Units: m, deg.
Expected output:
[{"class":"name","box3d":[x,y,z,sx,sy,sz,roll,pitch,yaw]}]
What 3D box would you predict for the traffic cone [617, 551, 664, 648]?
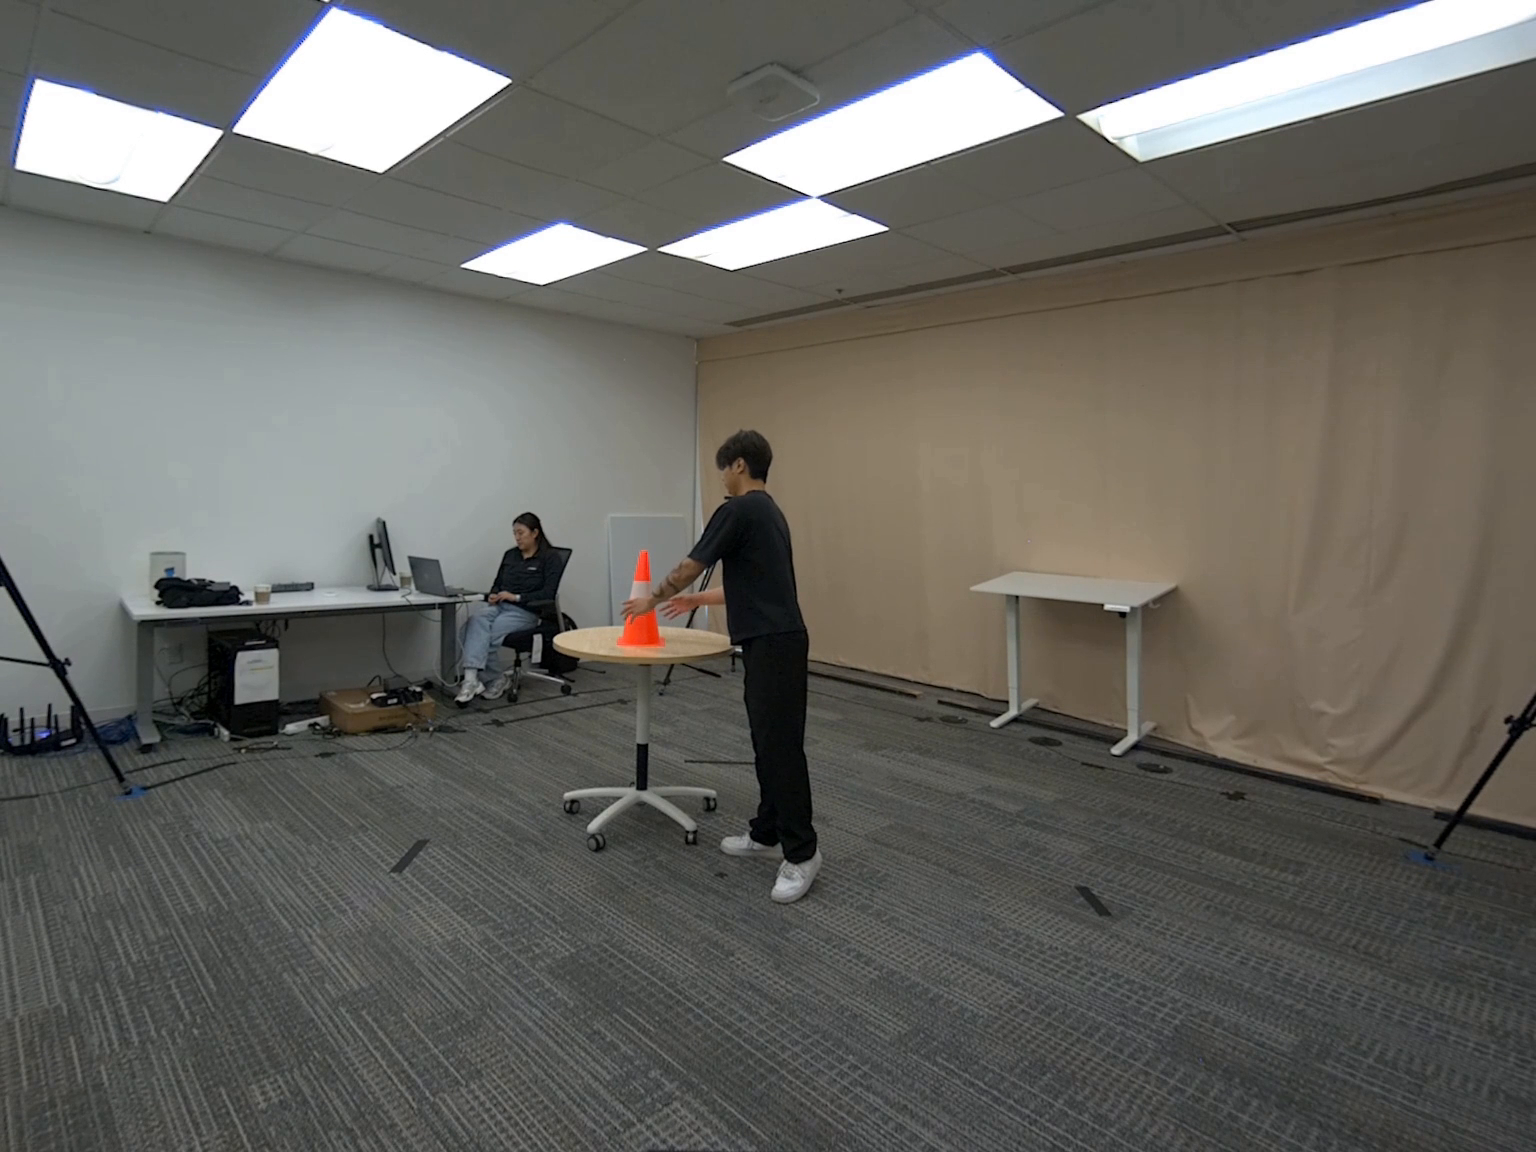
[{"class":"traffic cone","box3d":[-0.531,0.093,3.501,0.203,0.382,0.206,1,5,-11]}]
